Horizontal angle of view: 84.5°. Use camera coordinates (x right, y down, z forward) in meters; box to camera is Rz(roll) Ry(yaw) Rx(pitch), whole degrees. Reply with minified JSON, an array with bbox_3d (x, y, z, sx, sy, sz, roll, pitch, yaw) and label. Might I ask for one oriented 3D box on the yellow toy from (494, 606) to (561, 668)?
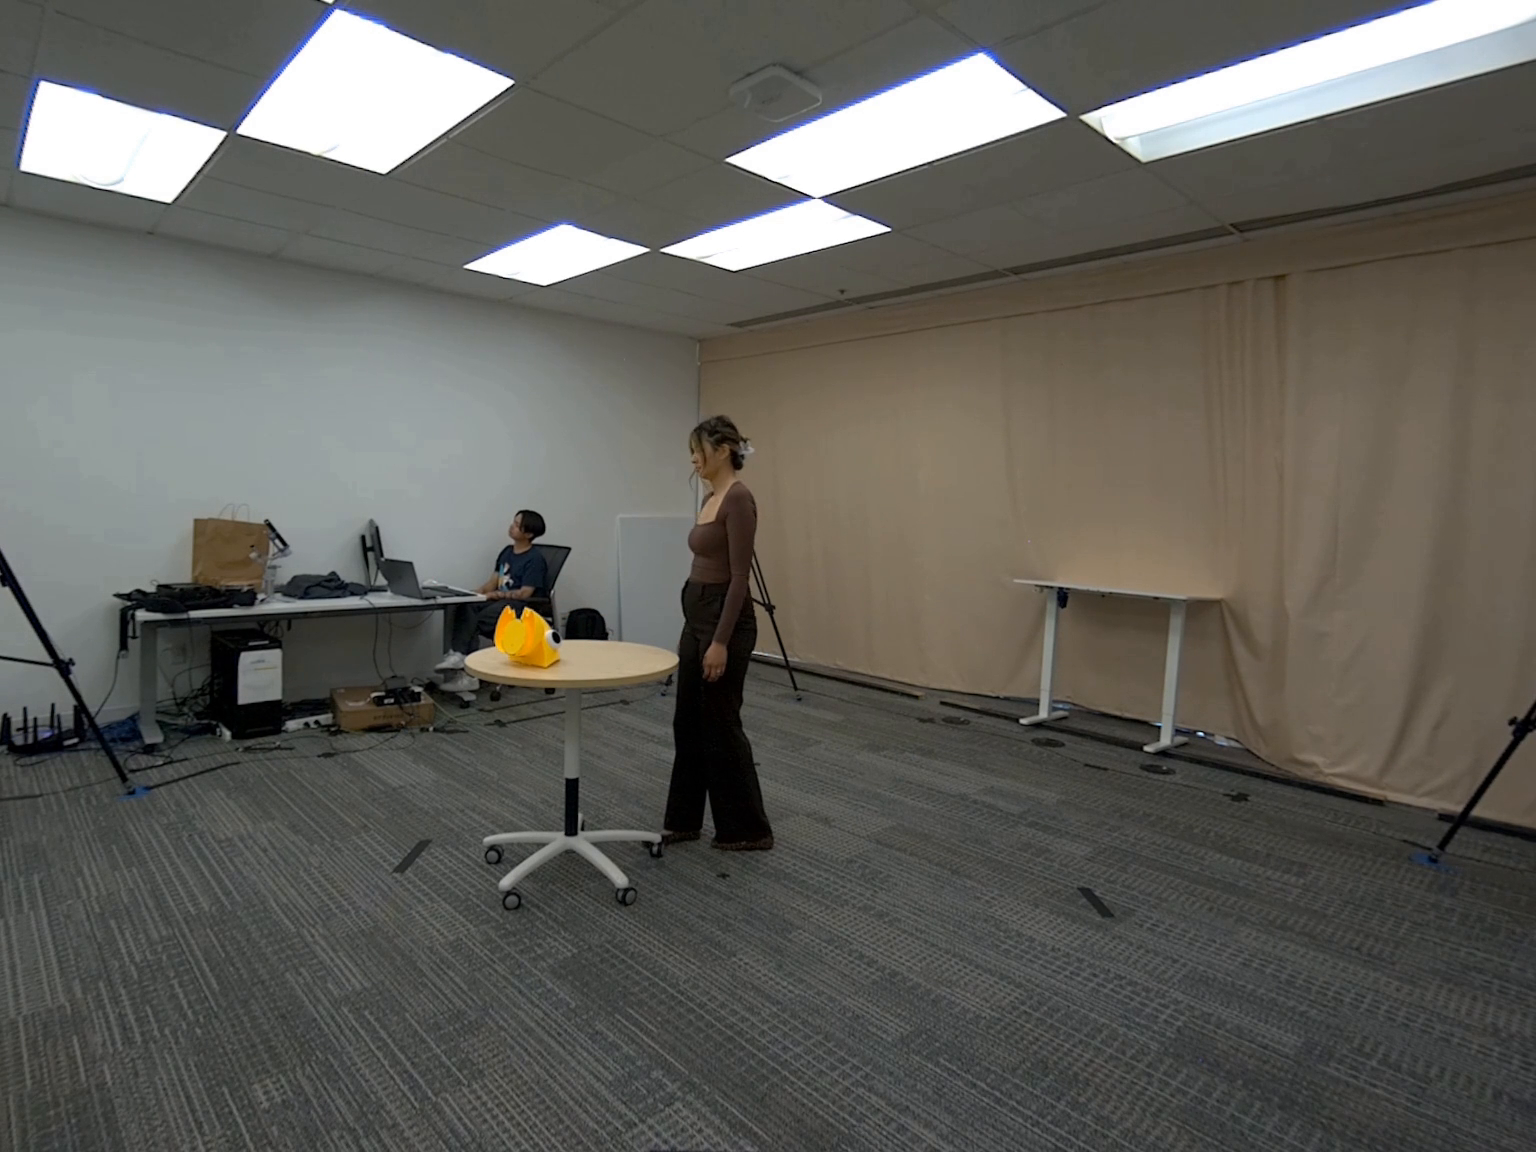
[{"bbox_3d":[-0.811,0.221,2.952,0.210,0.194,0.224,5,-8,36],"label":"yellow toy"}]
